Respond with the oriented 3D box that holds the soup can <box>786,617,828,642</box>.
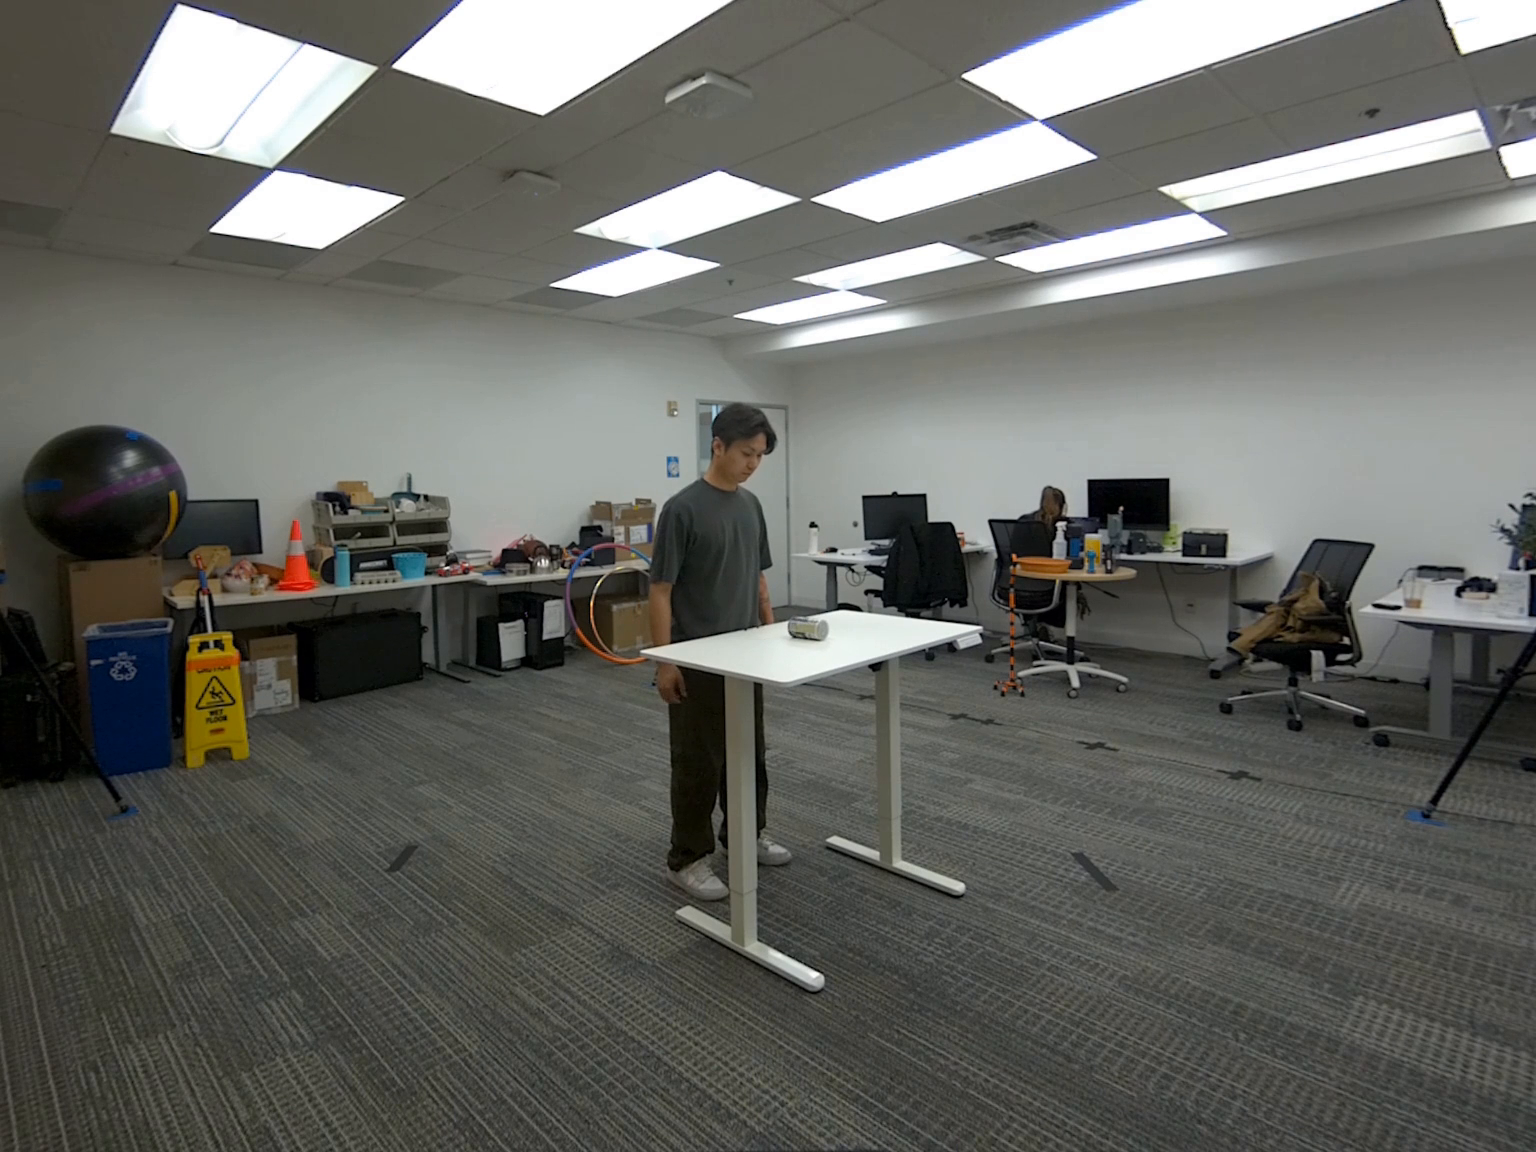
[{"bbox_3d":[0.132,0.167,2.736,0.125,0.067,0.065,4,7,34],"label":"soup can"}]
